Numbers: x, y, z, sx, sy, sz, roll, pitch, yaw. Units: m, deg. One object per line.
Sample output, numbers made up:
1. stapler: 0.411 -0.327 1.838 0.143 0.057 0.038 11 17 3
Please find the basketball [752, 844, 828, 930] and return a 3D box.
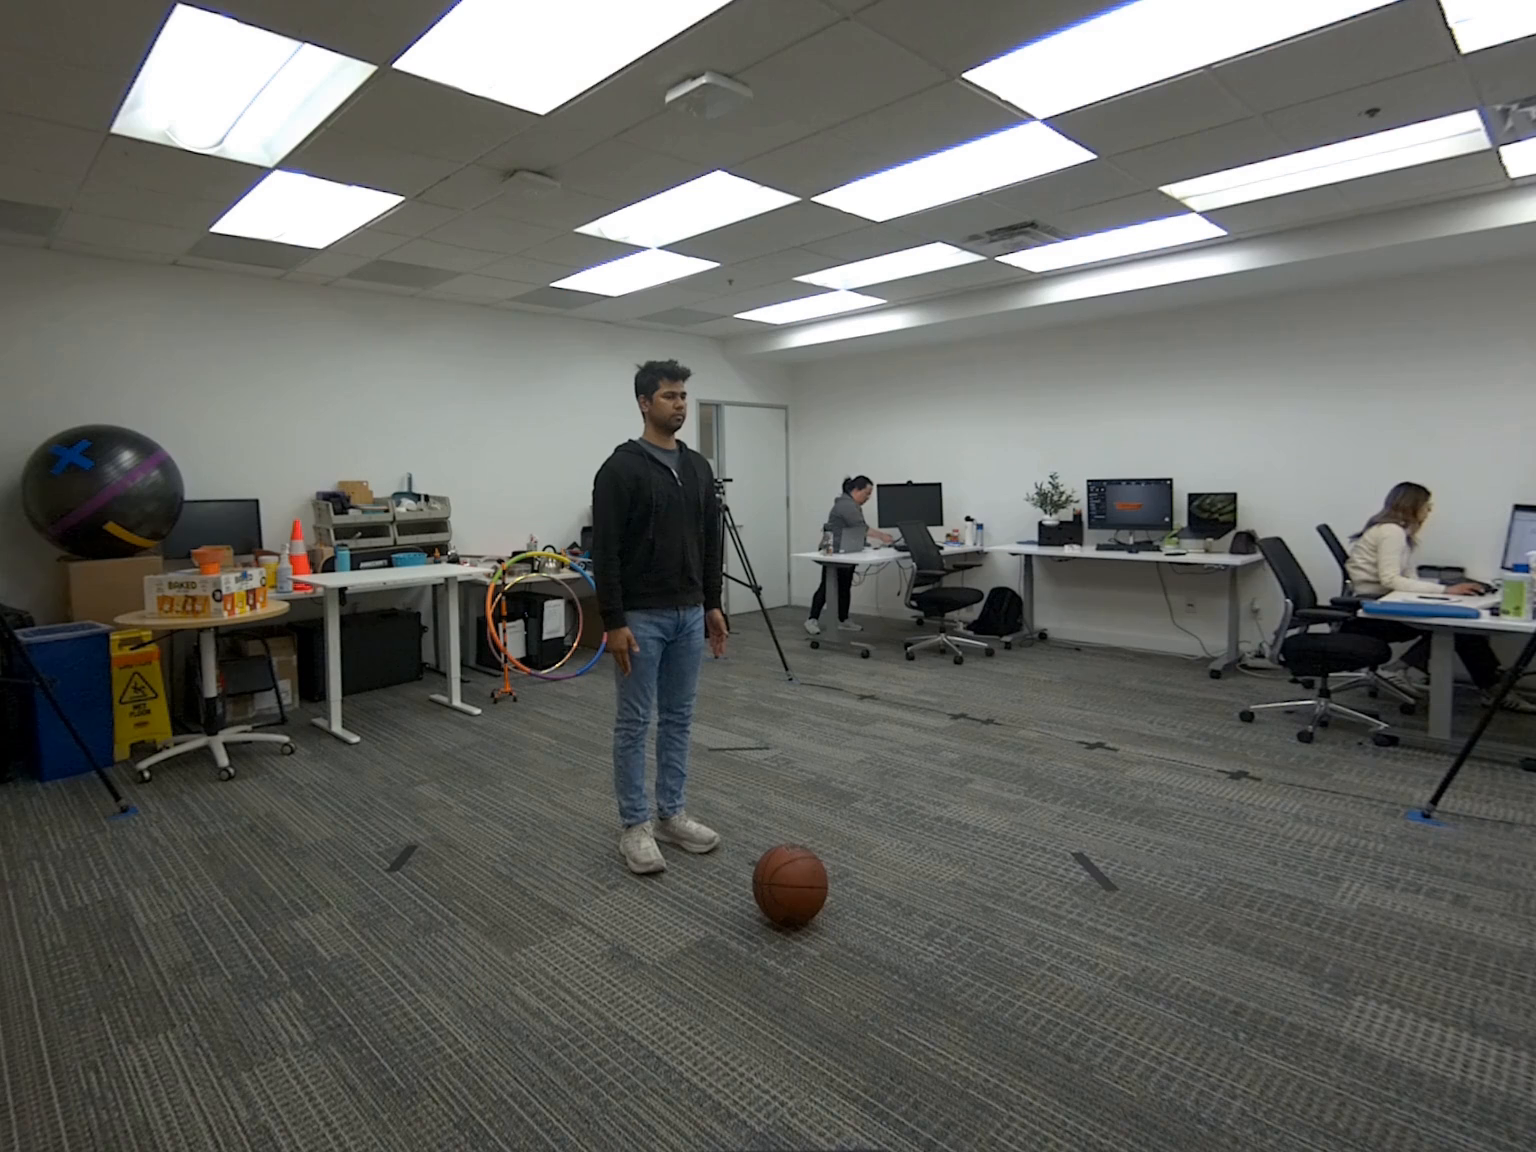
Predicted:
1. basketball: 0.069 0.969 2.695 0.236 0.235 0.237 -1 5 -2
